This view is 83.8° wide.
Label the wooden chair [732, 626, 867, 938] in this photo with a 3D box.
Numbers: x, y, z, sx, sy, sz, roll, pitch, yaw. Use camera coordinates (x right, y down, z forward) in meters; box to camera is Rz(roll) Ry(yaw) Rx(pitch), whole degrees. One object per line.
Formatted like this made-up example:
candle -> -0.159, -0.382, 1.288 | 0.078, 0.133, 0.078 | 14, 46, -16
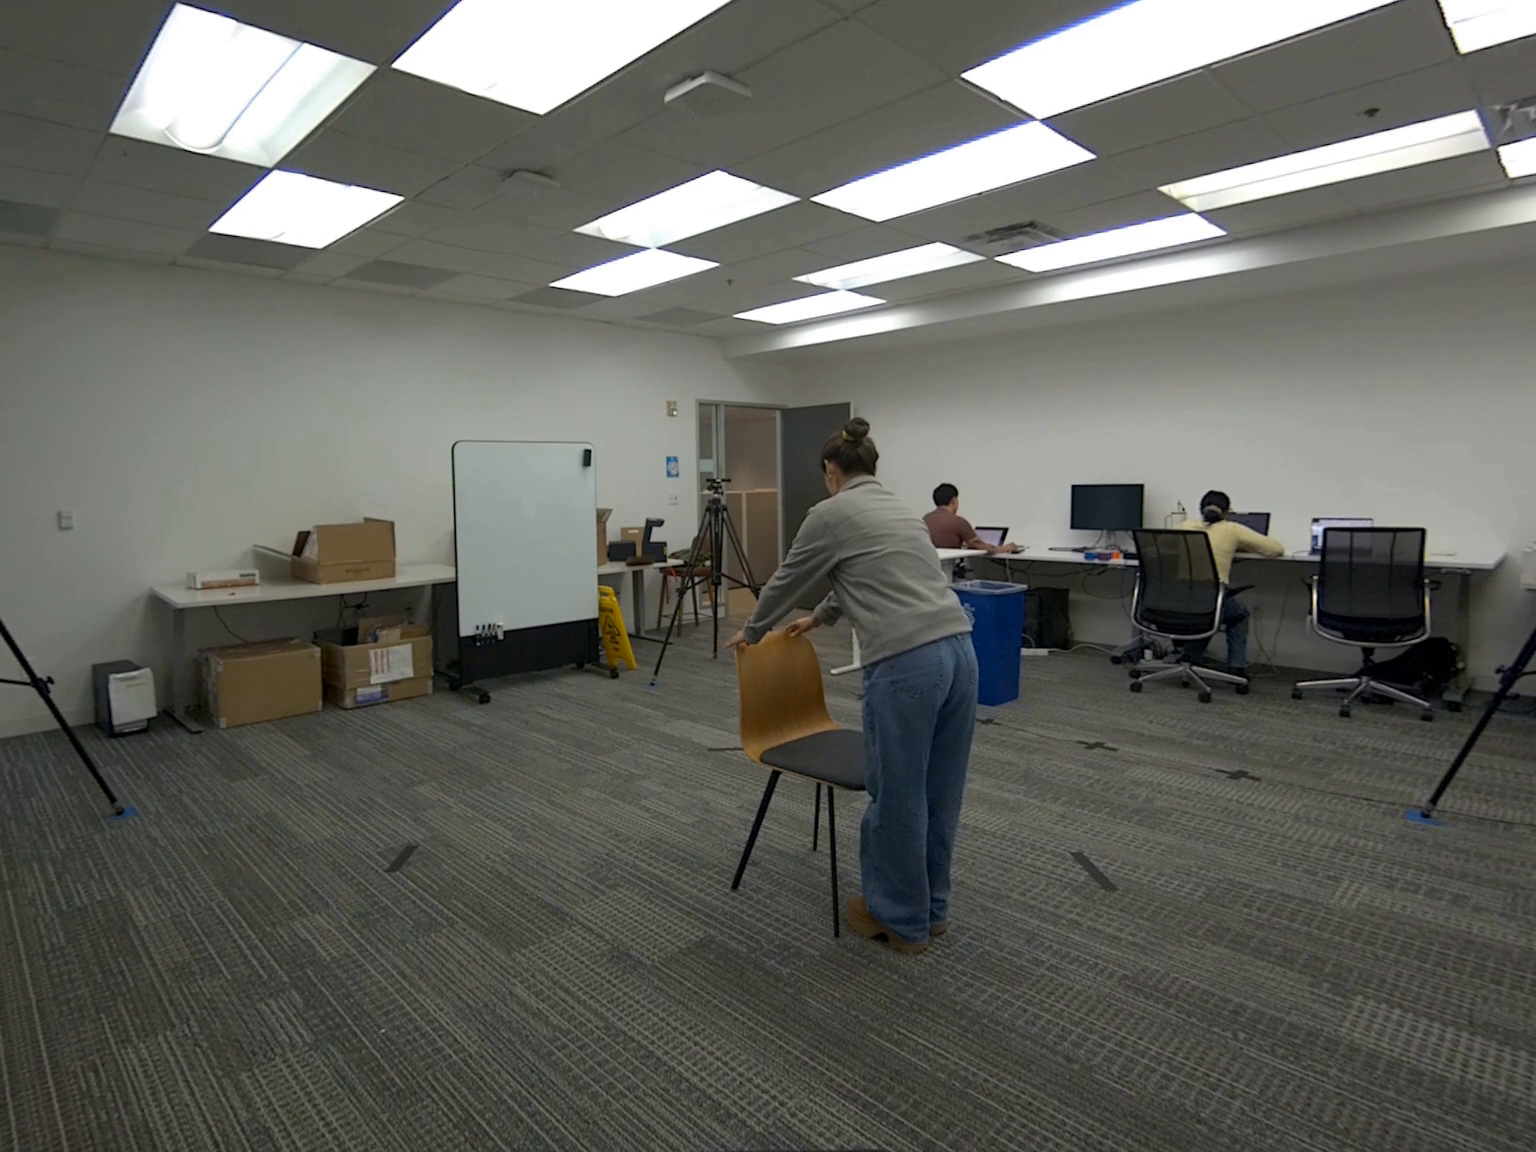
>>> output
wooden chair -> 0.191, 0.640, 2.873 | 0.538, 0.877, 0.465 | -2, 2, 44
